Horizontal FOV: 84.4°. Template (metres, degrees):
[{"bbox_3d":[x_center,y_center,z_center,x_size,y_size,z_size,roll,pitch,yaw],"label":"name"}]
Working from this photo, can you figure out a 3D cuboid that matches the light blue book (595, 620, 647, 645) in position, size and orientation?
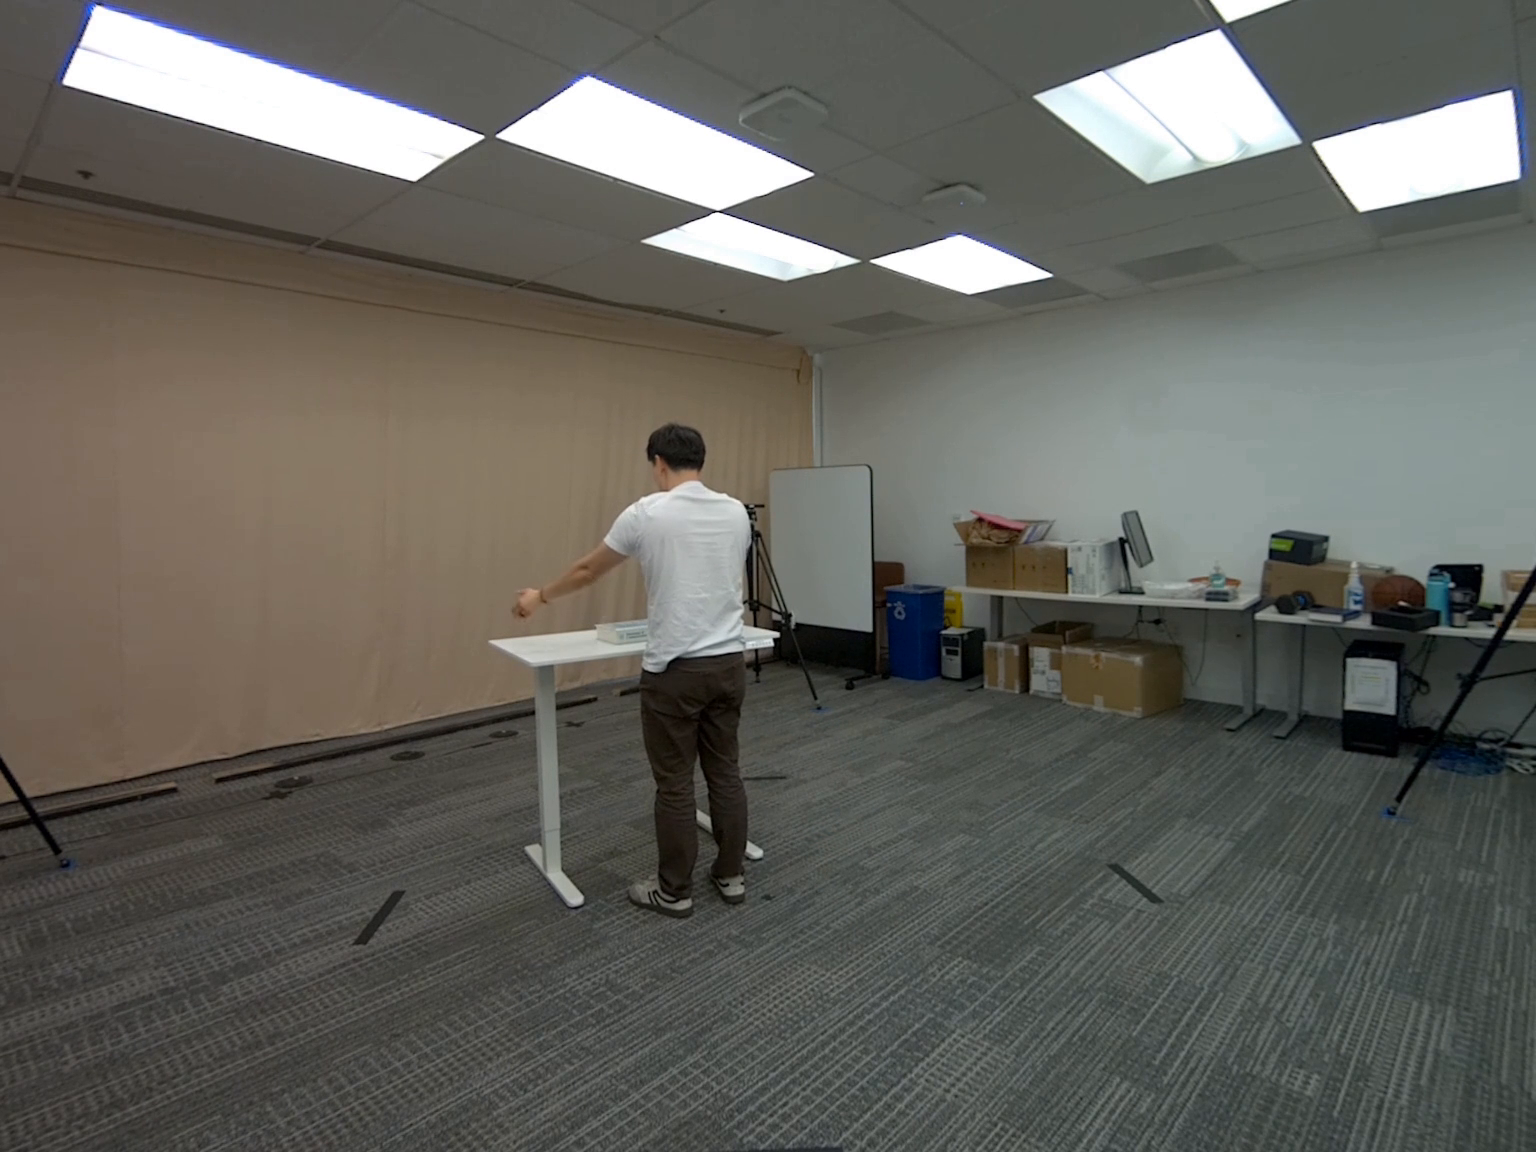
[{"bbox_3d":[-0.523,0.215,3.291,0.254,0.059,0.197,-4,6,-34],"label":"light blue book"}]
